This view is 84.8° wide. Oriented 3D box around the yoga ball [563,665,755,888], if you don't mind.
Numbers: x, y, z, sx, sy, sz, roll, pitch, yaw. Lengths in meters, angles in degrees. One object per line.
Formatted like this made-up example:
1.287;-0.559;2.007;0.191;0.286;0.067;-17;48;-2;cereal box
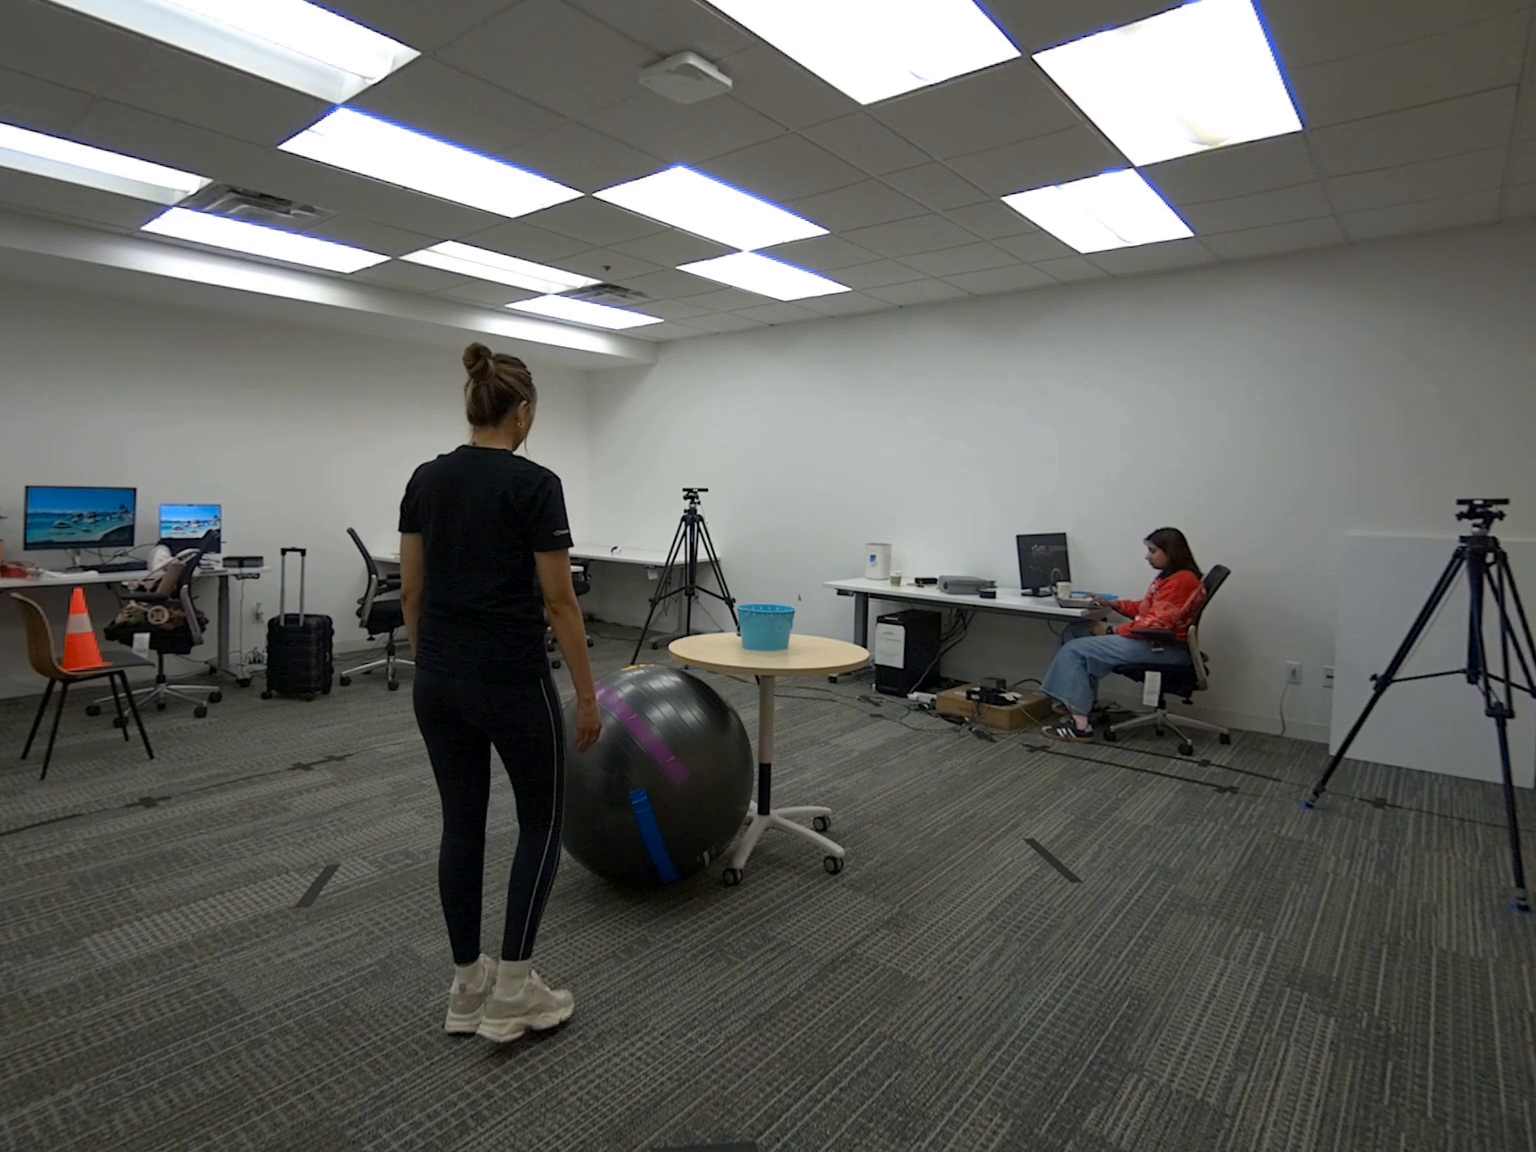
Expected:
-0.434;0.703;3.037;0.757;0.756;0.762;1;4;-2;yoga ball
